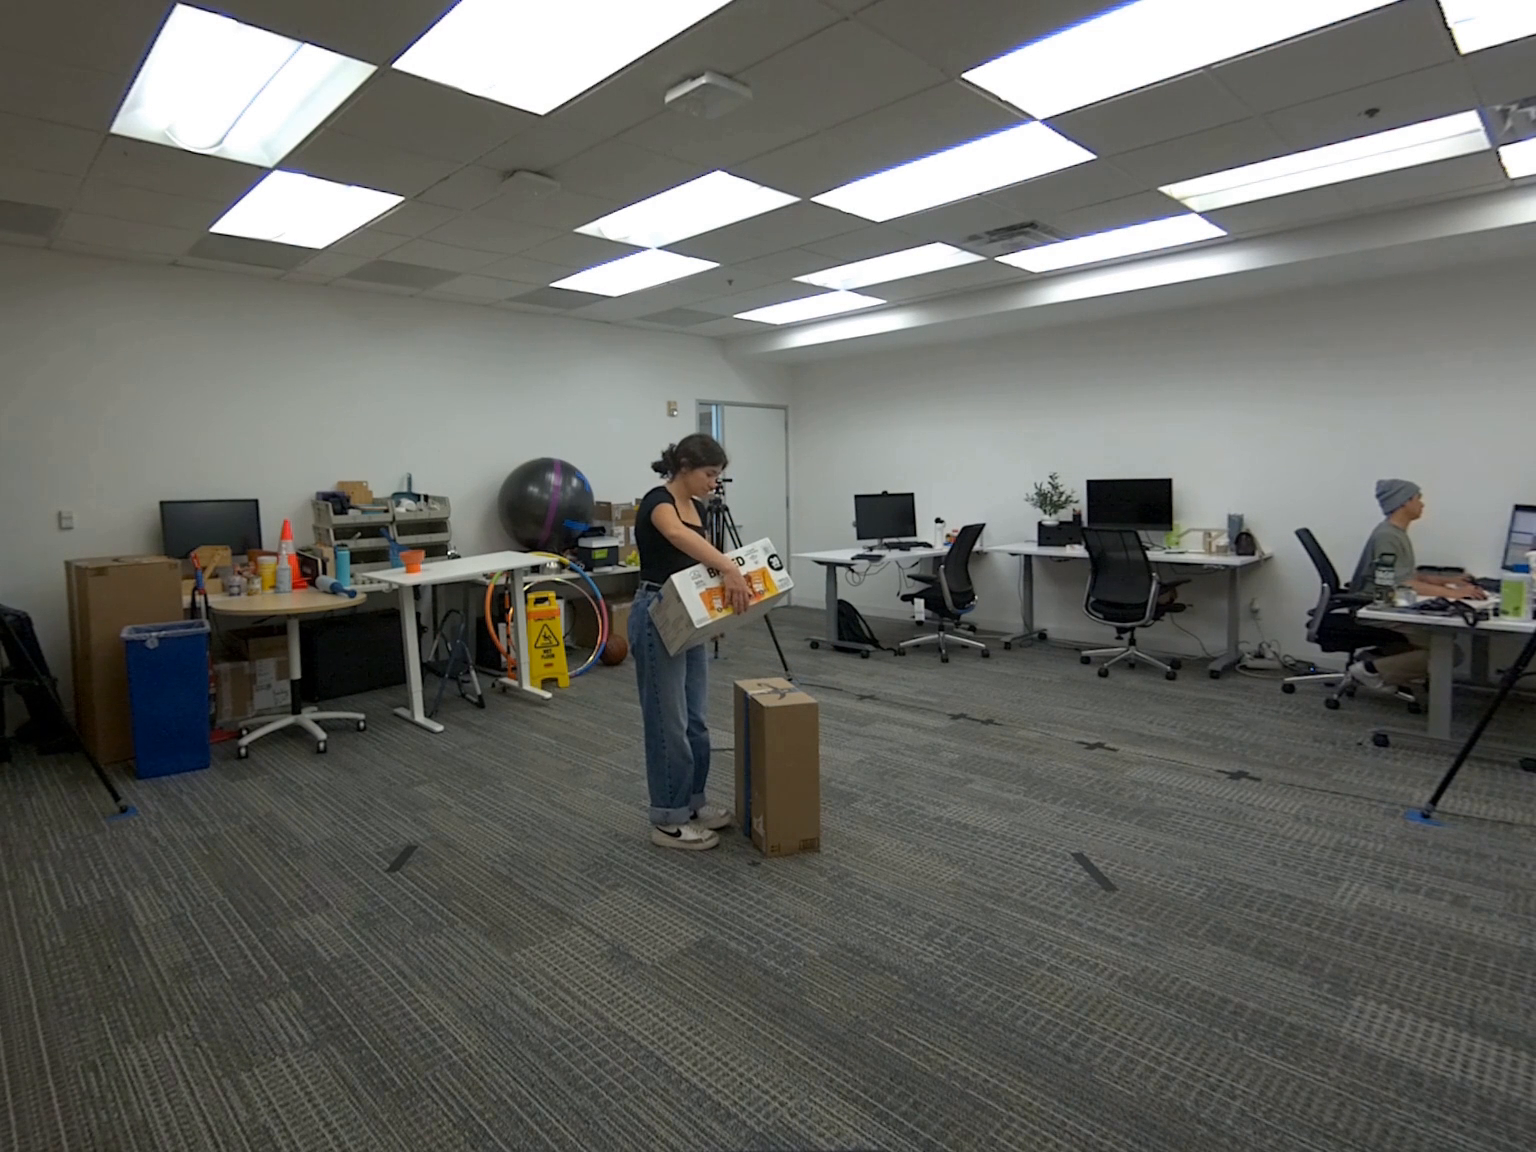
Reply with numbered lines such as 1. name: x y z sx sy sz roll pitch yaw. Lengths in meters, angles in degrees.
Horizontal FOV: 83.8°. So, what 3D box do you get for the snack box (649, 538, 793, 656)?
1. snack box: -0.171 0.079 3.058 0.399 0.209 0.339 -22 -13 -28
